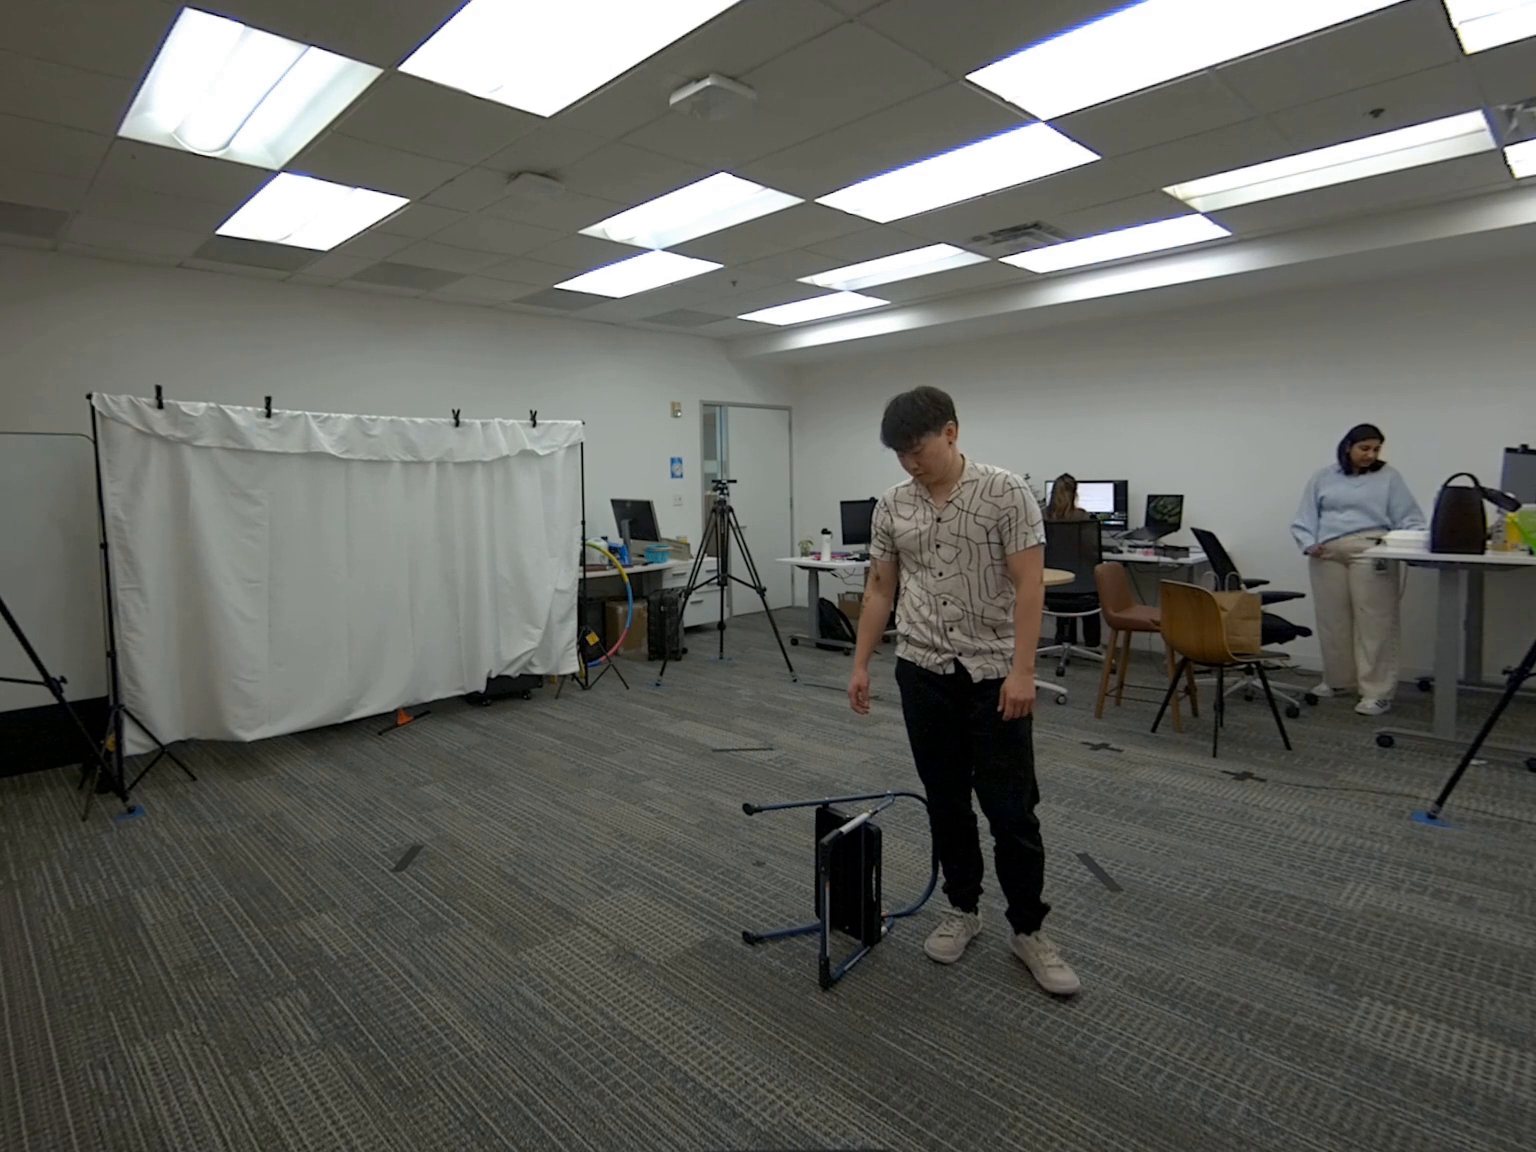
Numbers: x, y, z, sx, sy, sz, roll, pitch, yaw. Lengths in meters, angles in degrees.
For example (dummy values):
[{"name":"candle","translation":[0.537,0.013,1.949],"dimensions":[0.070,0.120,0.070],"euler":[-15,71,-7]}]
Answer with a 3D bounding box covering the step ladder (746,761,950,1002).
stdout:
[{"name":"step ladder","translation":[0.278,0.890,2.621],"dimensions":[0.590,0.428,0.360],"euler":[-6,8,-40]}]
